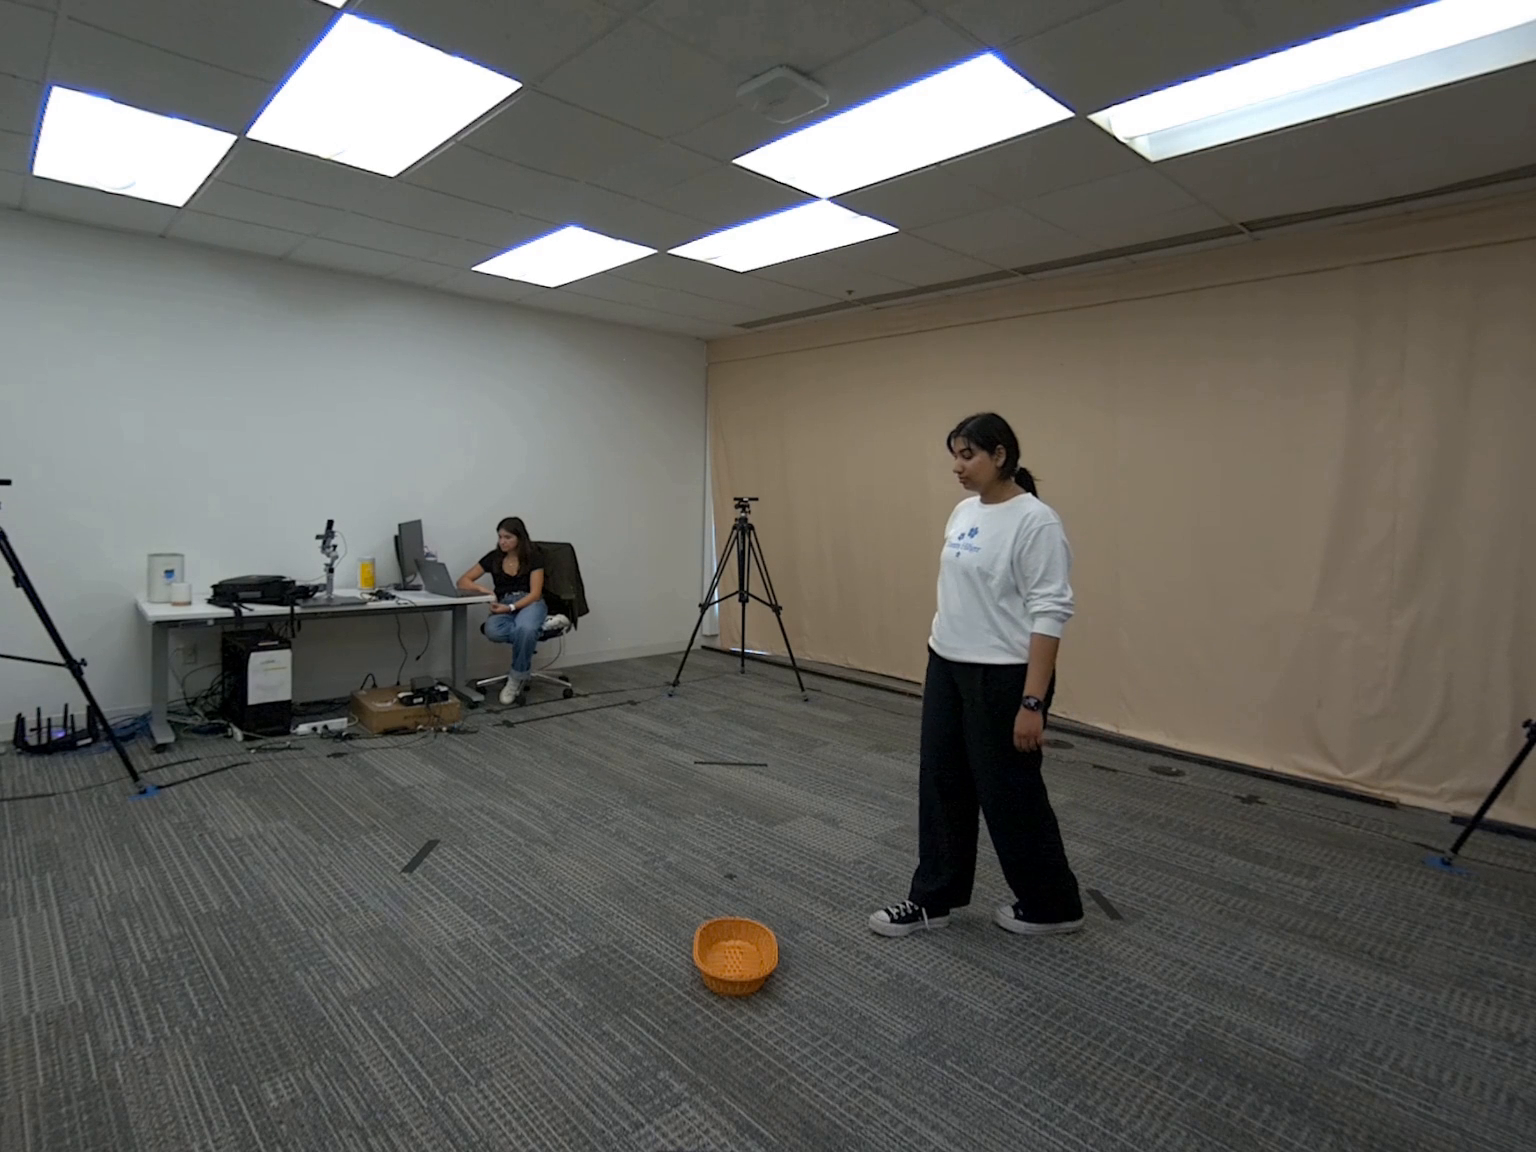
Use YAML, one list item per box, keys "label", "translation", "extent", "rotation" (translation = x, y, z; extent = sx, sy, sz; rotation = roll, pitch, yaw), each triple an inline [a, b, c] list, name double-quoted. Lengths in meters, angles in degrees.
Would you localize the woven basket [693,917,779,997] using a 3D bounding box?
- label: "woven basket"
  translation: [-0.107, 1.127, 2.488]
  extent: [0.253, 0.073, 0.351]
  rotation: [3, 5, 1]
